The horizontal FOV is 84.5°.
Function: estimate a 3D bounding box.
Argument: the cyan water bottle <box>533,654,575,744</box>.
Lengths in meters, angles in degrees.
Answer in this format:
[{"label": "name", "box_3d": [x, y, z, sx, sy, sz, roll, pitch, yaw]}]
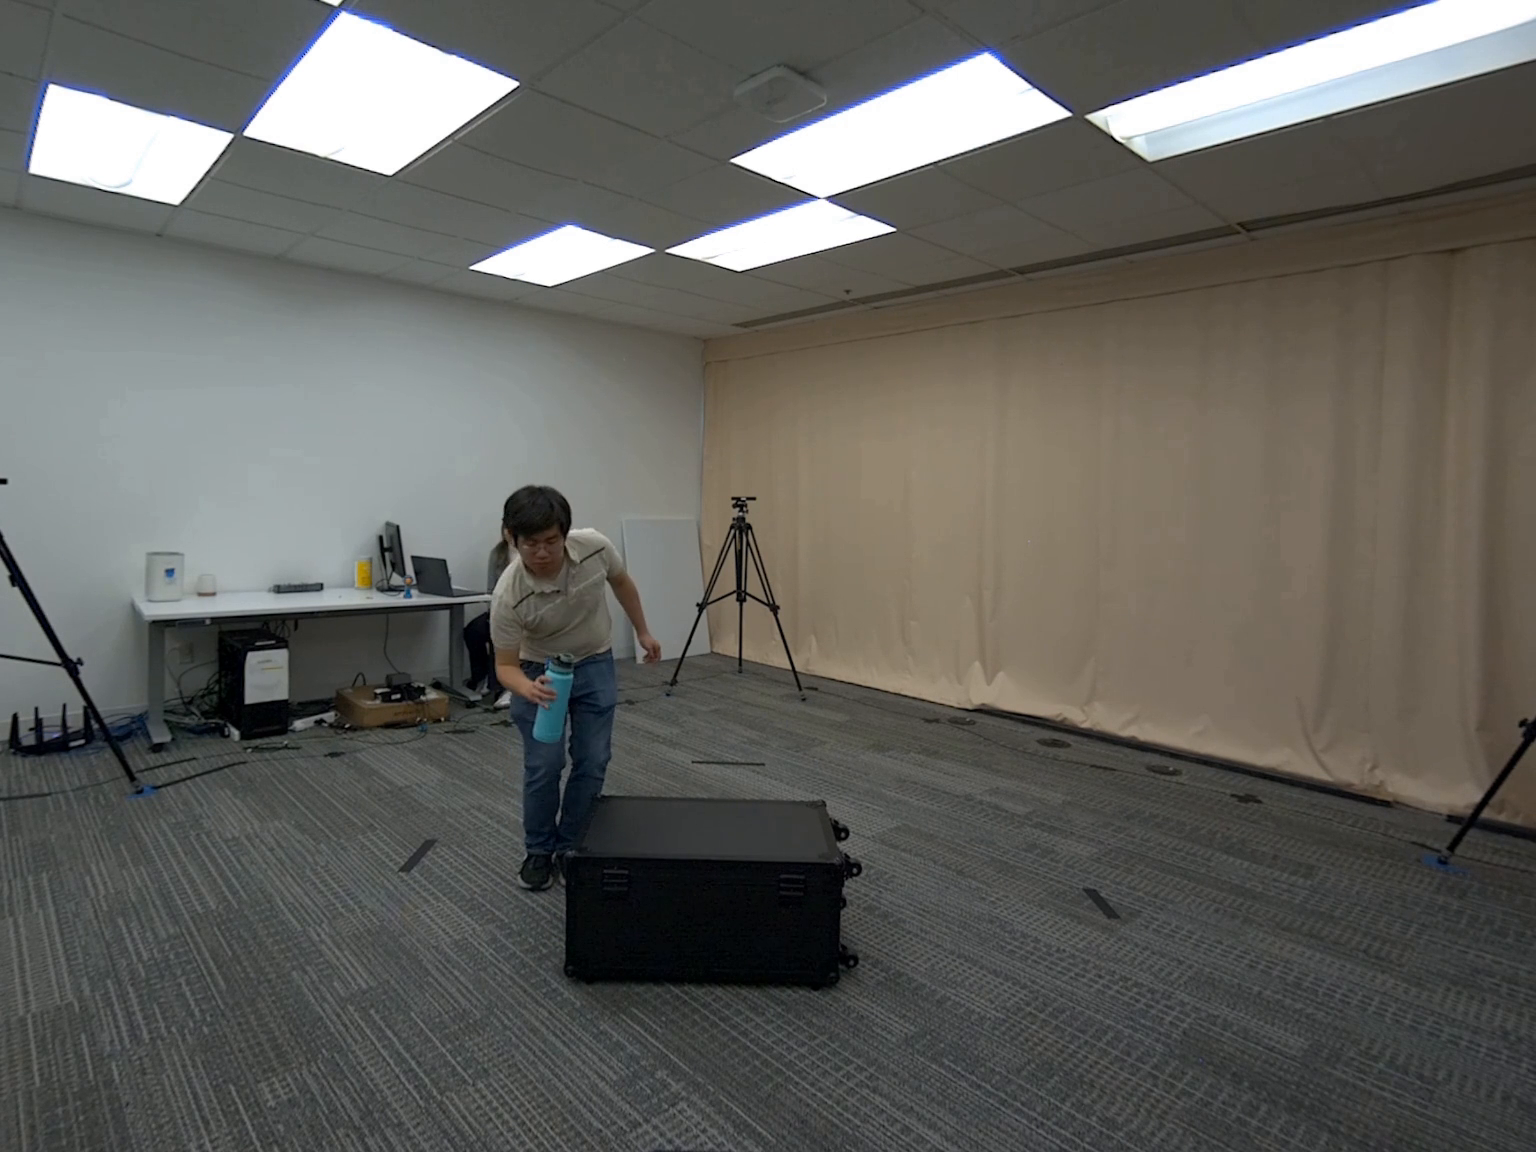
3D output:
[{"label": "cyan water bottle", "box_3d": [-0.719, 0.360, 2.692, 0.092, 0.282, 0.093, 11, 5, -2]}]
